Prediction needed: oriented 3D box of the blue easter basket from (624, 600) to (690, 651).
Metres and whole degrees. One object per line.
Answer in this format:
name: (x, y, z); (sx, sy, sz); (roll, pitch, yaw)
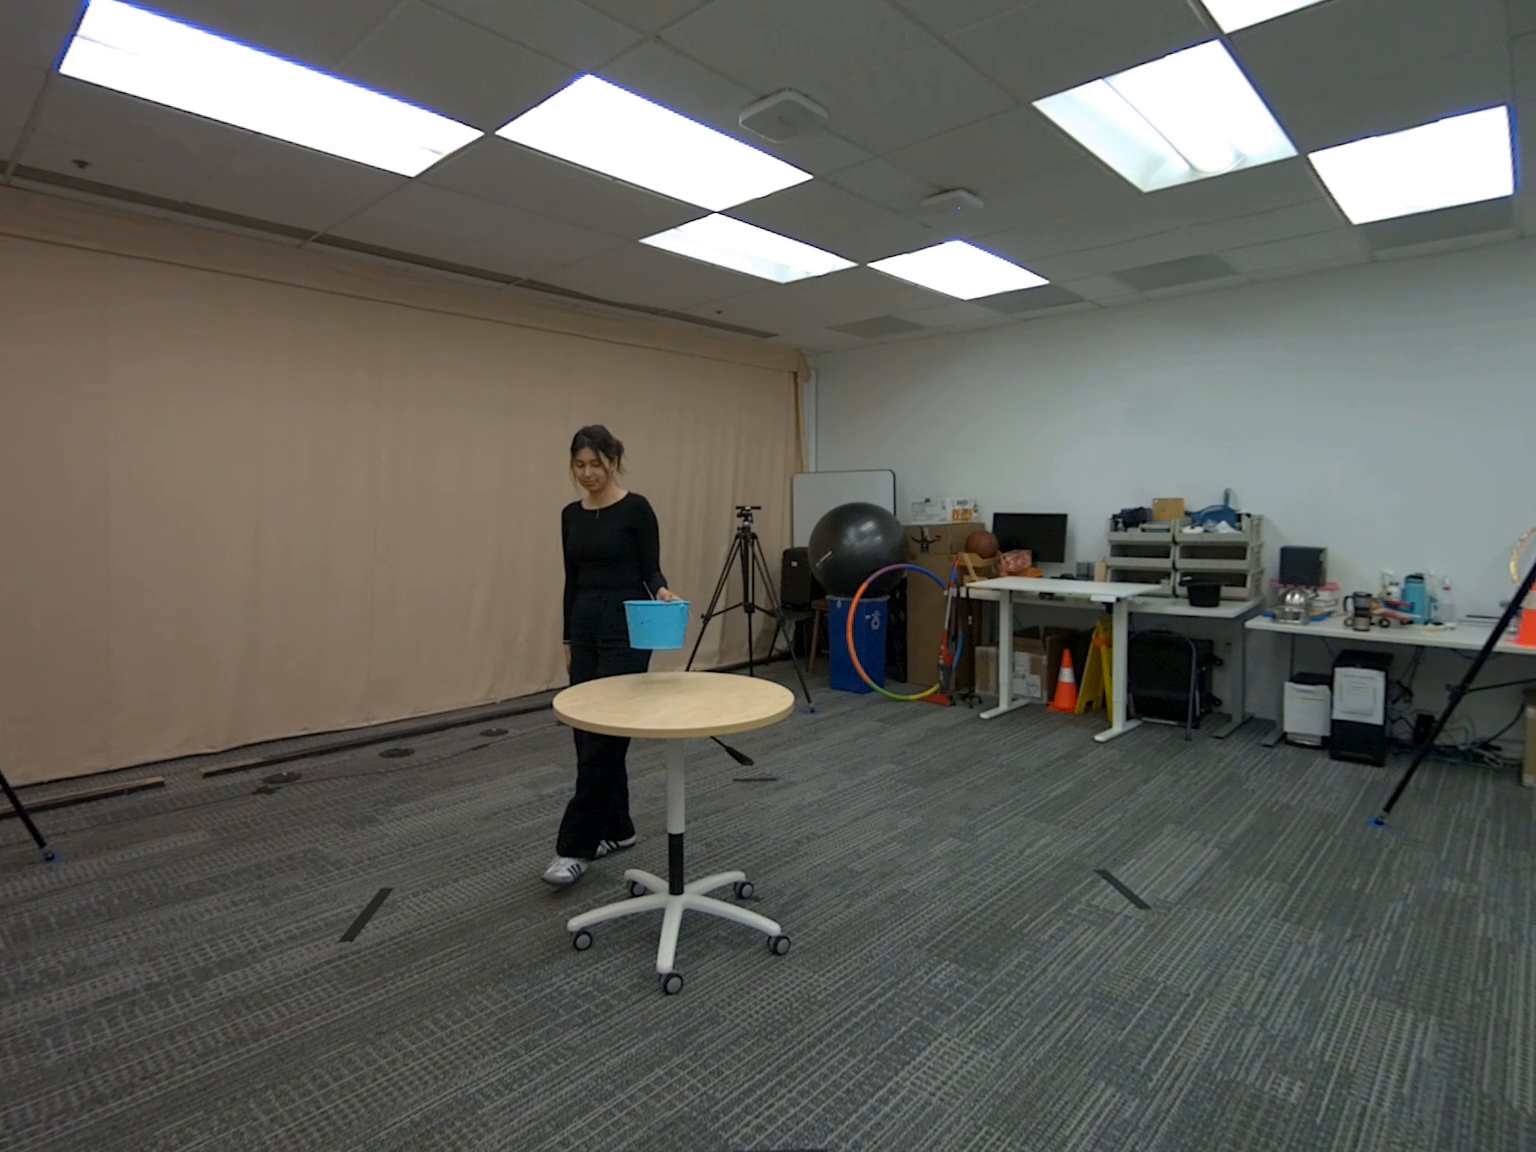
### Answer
blue easter basket: (-0.381, 0.165, 2.869); (0.243, 0.156, 0.244); (2, 1, -2)
